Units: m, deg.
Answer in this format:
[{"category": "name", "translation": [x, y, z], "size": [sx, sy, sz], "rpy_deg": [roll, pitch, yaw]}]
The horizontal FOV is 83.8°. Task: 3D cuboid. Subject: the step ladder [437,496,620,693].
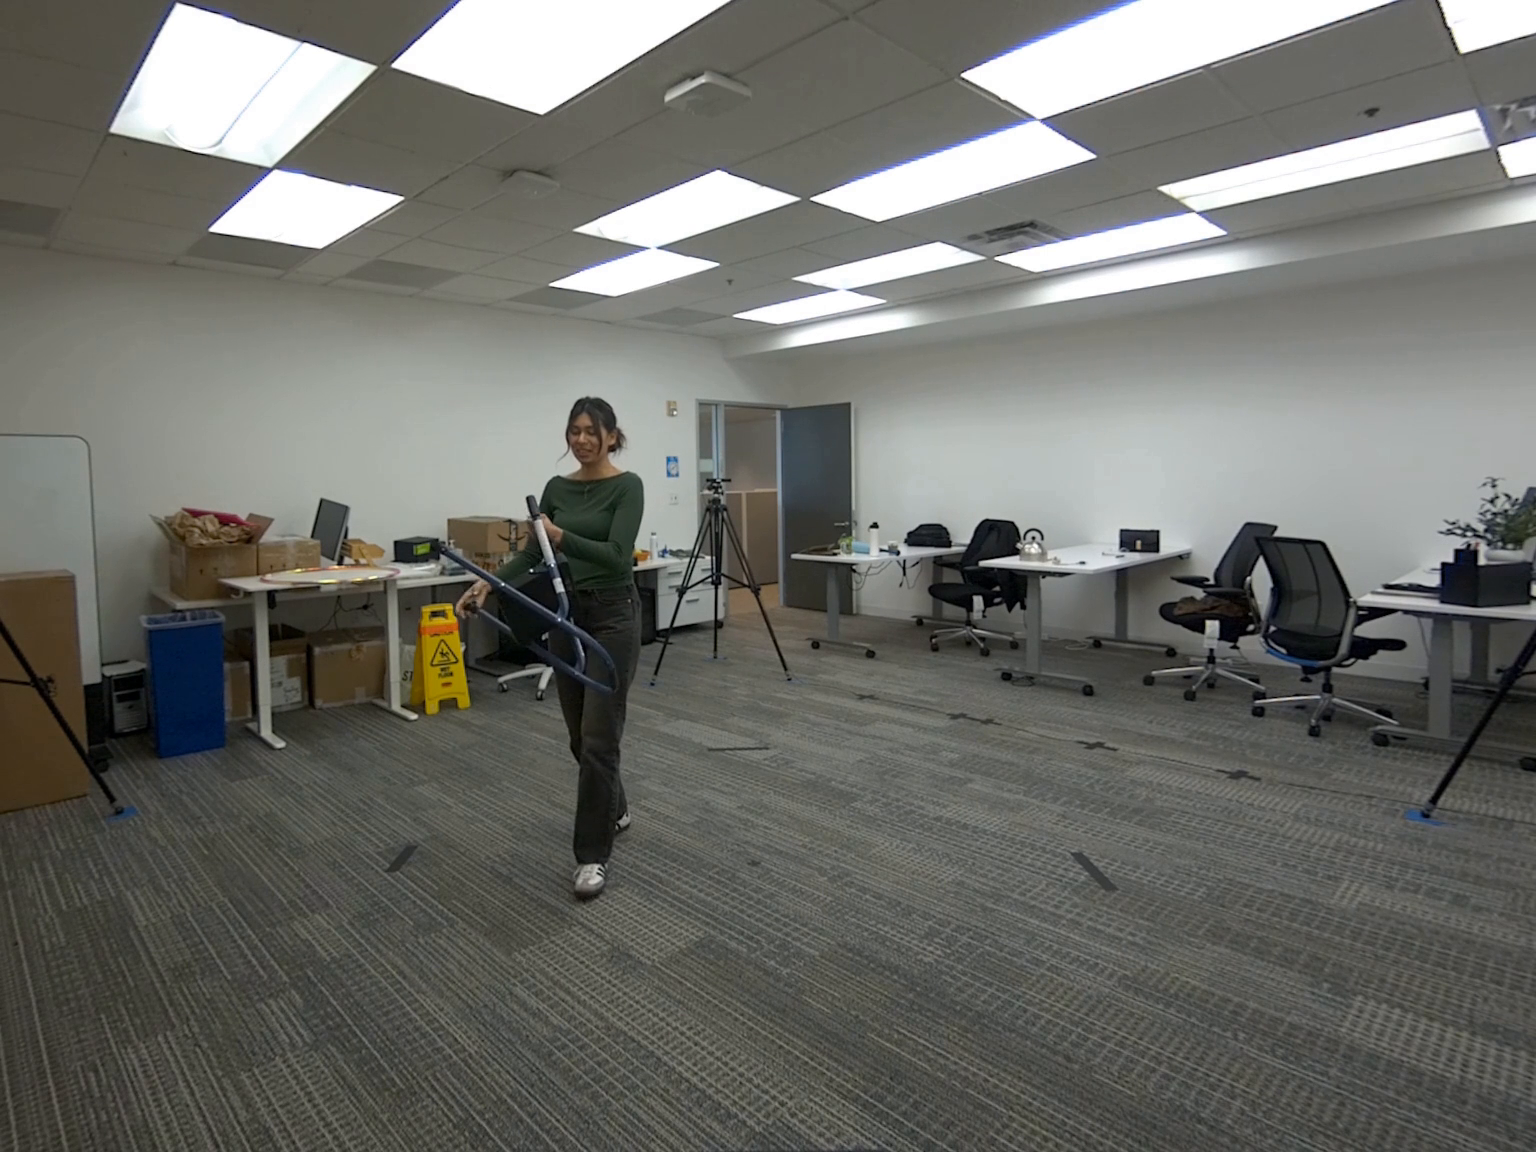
[{"category": "step ladder", "translation": [-0.729, 0.139, 2.696], "size": [0.347, 0.624, 0.421], "rpy_deg": [-31, -24, -19]}]
